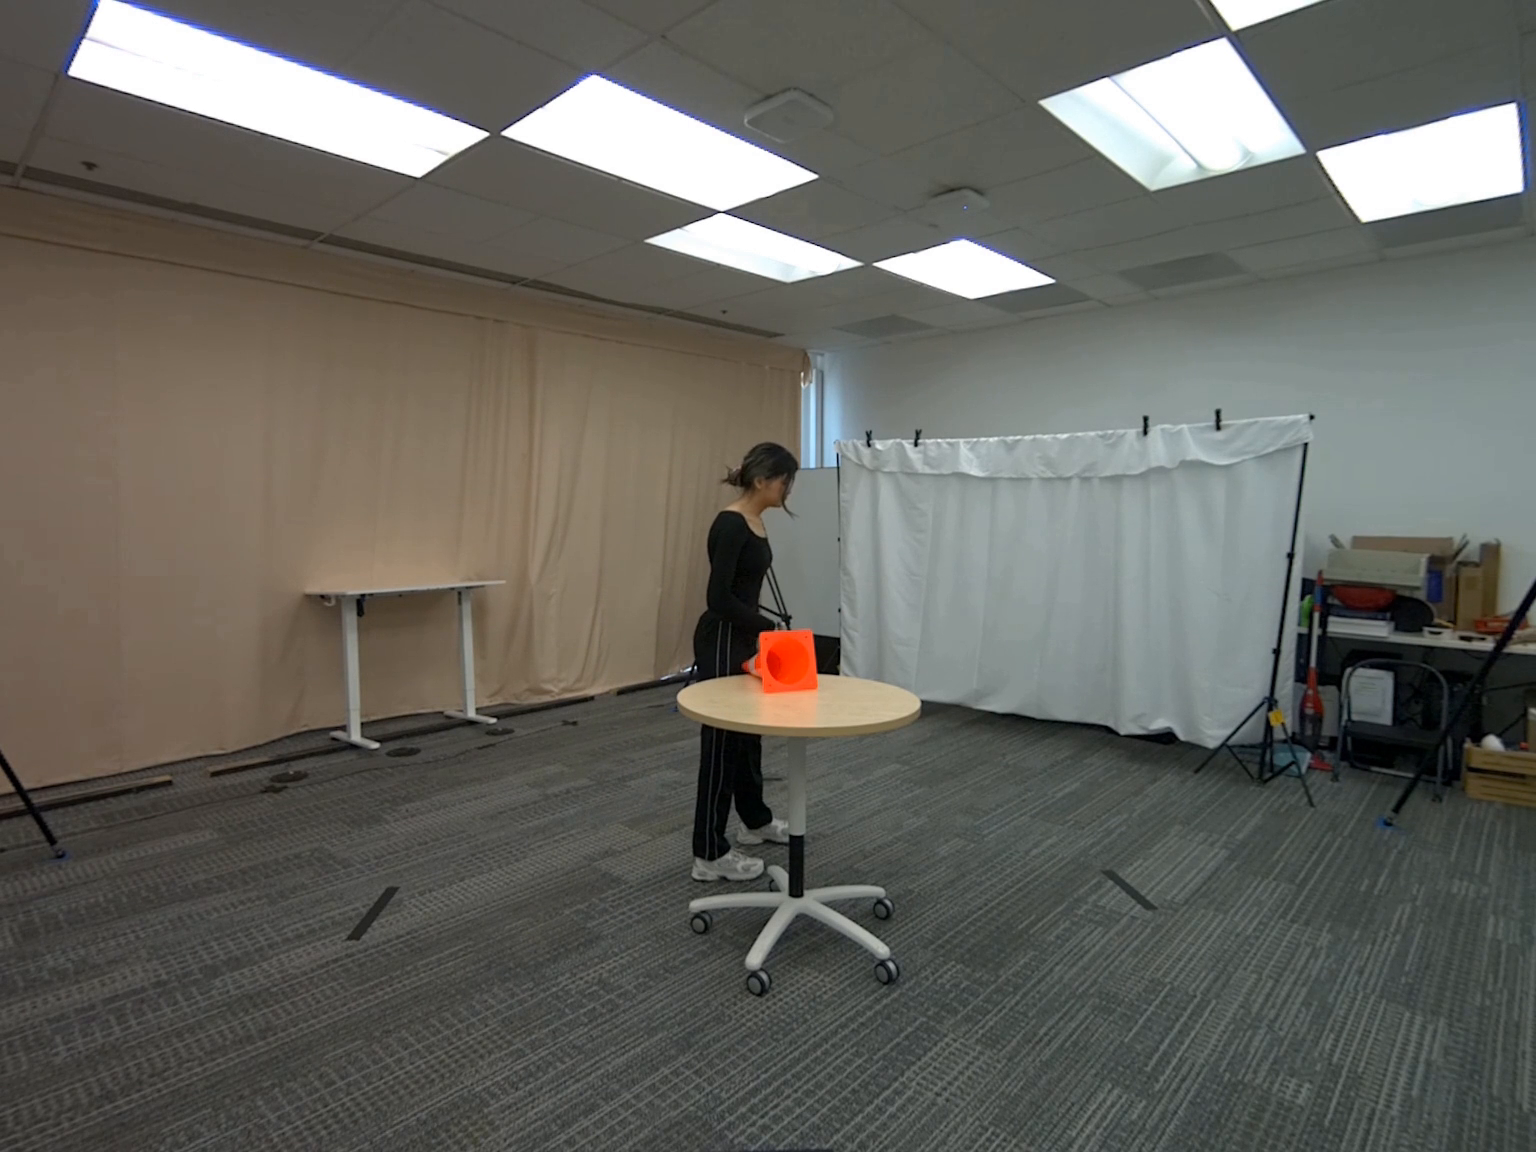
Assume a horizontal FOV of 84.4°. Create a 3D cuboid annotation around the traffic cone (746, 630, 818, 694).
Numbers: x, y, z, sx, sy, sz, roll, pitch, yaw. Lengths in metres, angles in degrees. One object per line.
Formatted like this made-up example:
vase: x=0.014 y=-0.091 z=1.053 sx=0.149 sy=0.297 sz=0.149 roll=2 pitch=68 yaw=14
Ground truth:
traffic cone: x=-0.006 y=0.311 z=2.941 sx=0.201 sy=0.205 sz=0.389 roll=1 pitch=-9 yaw=-22
